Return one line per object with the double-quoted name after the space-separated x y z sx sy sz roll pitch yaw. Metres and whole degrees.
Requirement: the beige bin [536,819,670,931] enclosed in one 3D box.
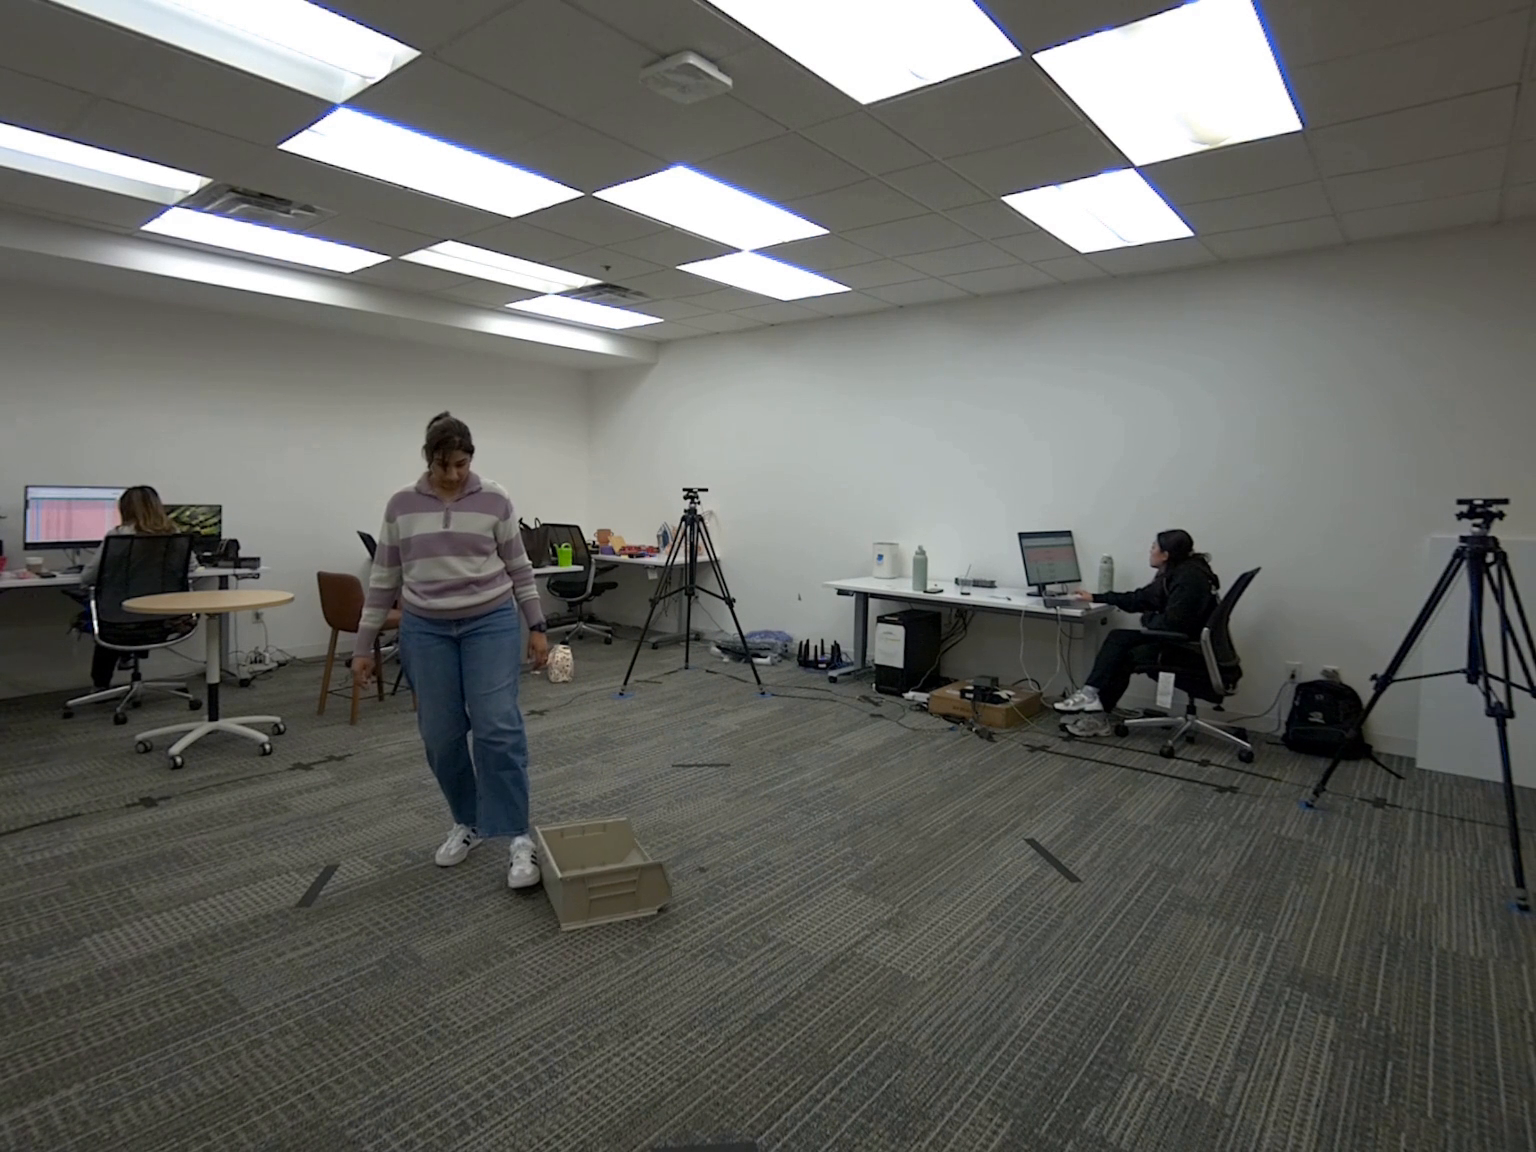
-0.579 0.996 2.901 0.369 0.188 0.434 -2 6 -24 "beige bin"
